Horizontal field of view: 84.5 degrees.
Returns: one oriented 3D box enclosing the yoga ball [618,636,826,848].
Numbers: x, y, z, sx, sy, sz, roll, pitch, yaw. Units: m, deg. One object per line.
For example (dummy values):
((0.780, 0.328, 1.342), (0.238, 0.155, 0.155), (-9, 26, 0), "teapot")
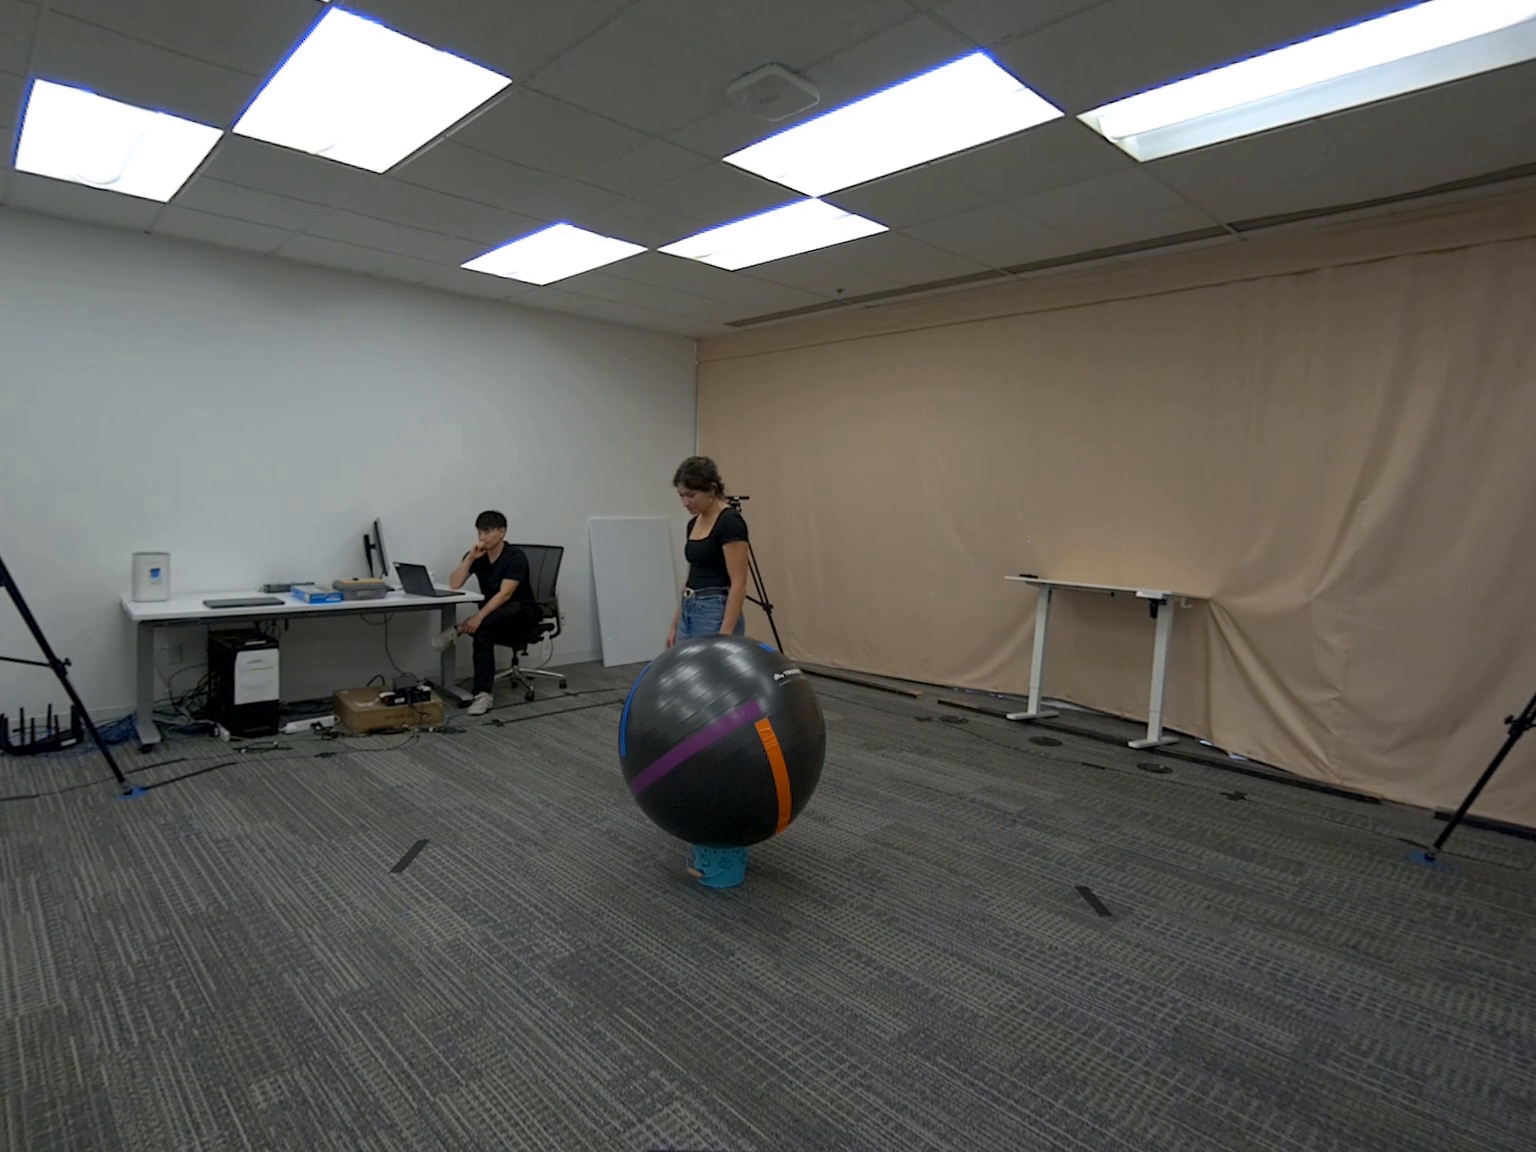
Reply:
((-0.173, 0.593, 3.066), (0.757, 0.756, 0.760), (1, 4, -1), "yoga ball")
